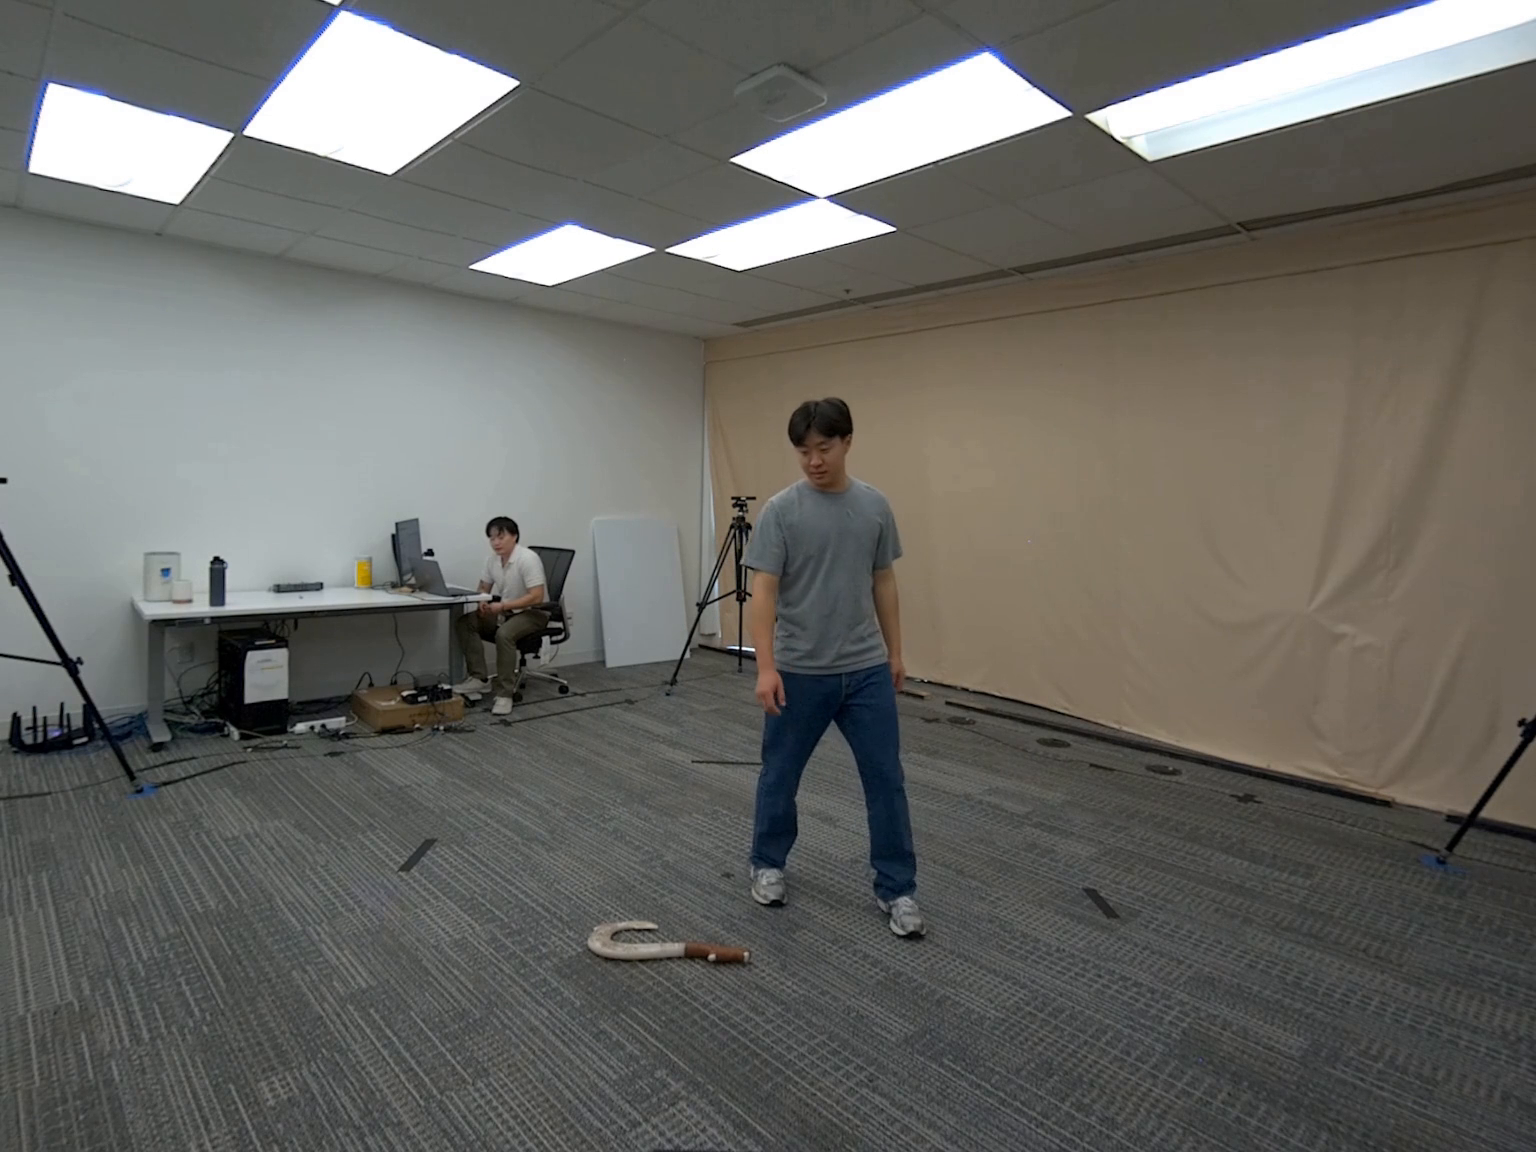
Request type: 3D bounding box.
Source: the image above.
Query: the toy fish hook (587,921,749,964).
[{"bbox_3d":[-0.305,1.124,2.592,0.509,0.048,0.224,2,6,6],"label":"toy fish hook"}]
